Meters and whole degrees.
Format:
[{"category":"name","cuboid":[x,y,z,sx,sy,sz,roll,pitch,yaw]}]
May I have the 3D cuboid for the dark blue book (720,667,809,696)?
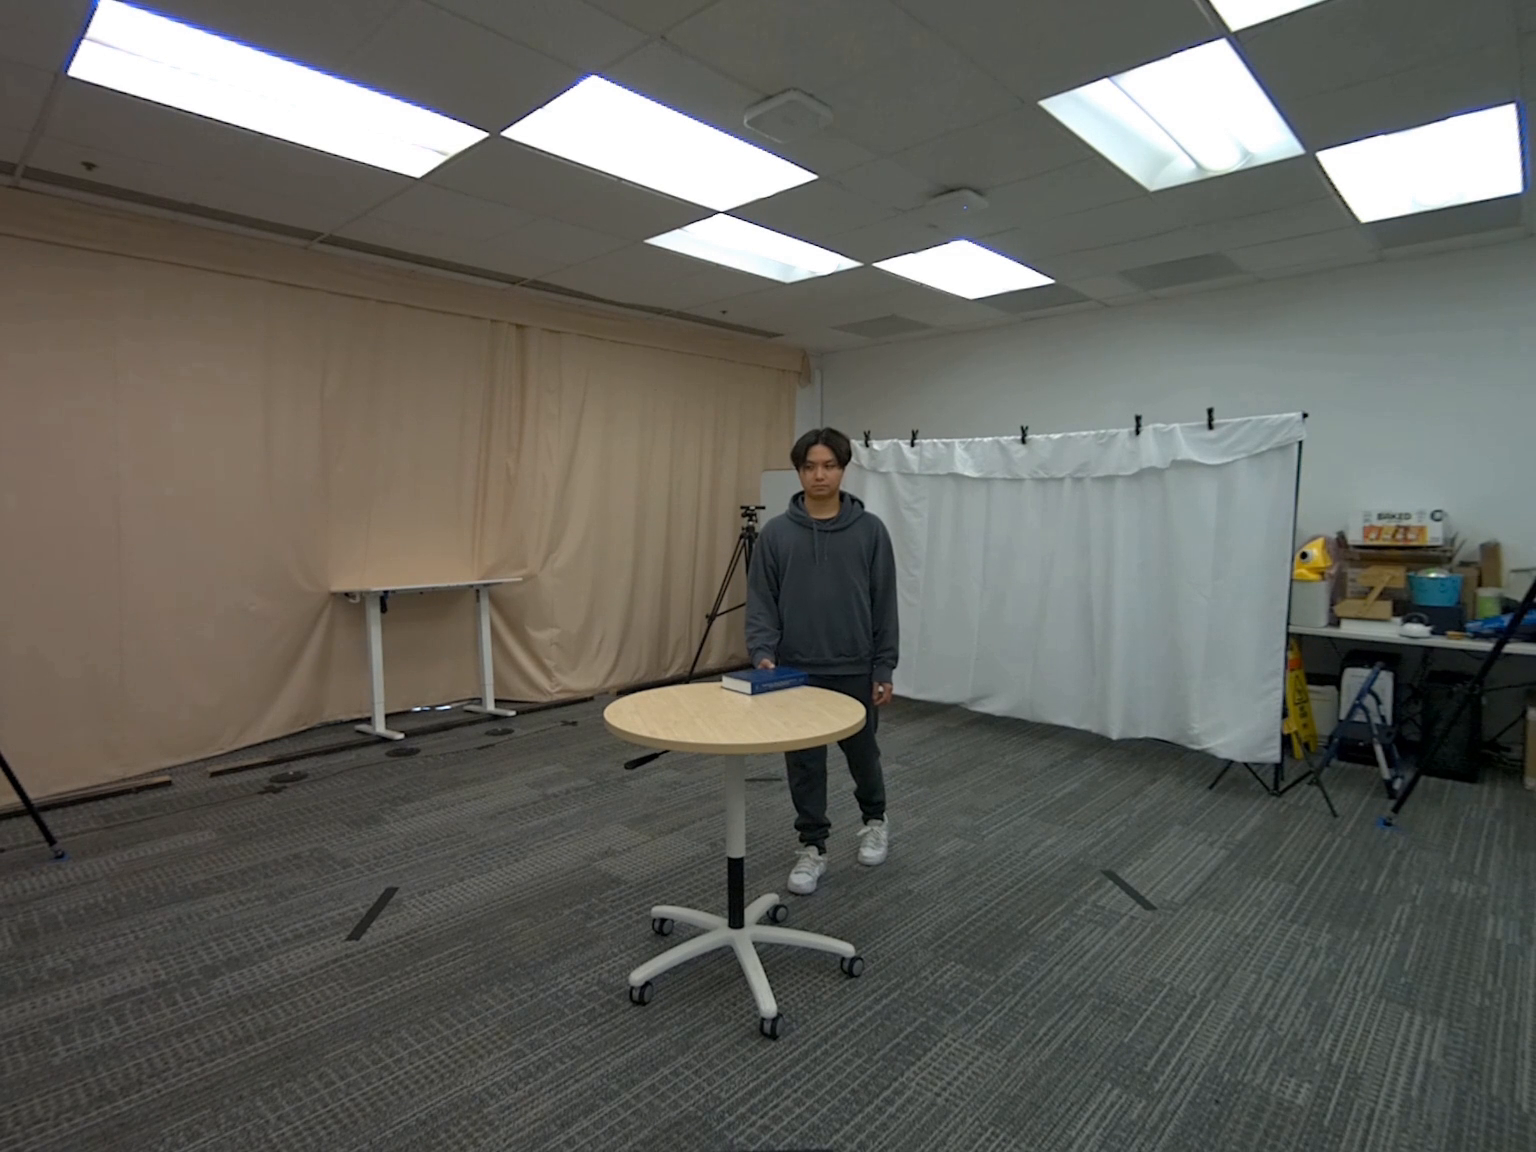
[{"category":"dark blue book","cuboid":[-0.014,0.343,2.784,0.238,0.045,0.169,-5,6,-37]}]
